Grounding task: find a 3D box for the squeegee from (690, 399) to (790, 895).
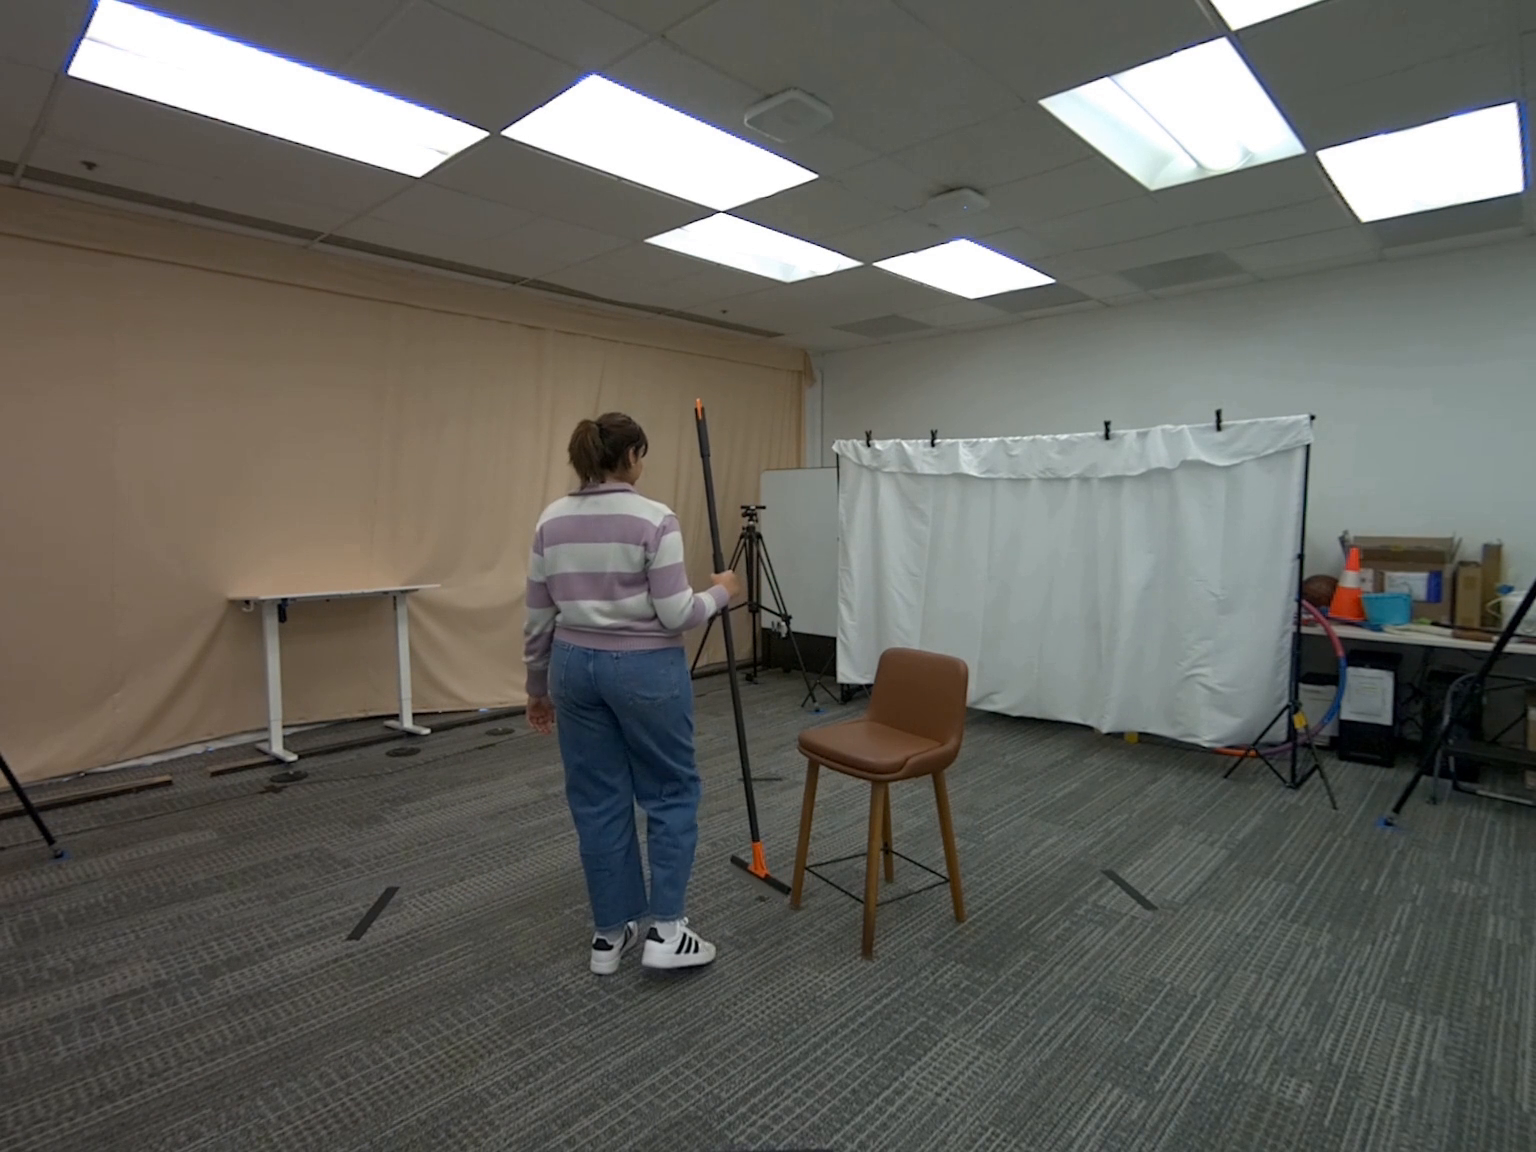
[{"bbox_3d":[-0.119,0.198,2.672,0.051,1.542,0.447,-5,-4,-30],"label":"squeegee"}]
